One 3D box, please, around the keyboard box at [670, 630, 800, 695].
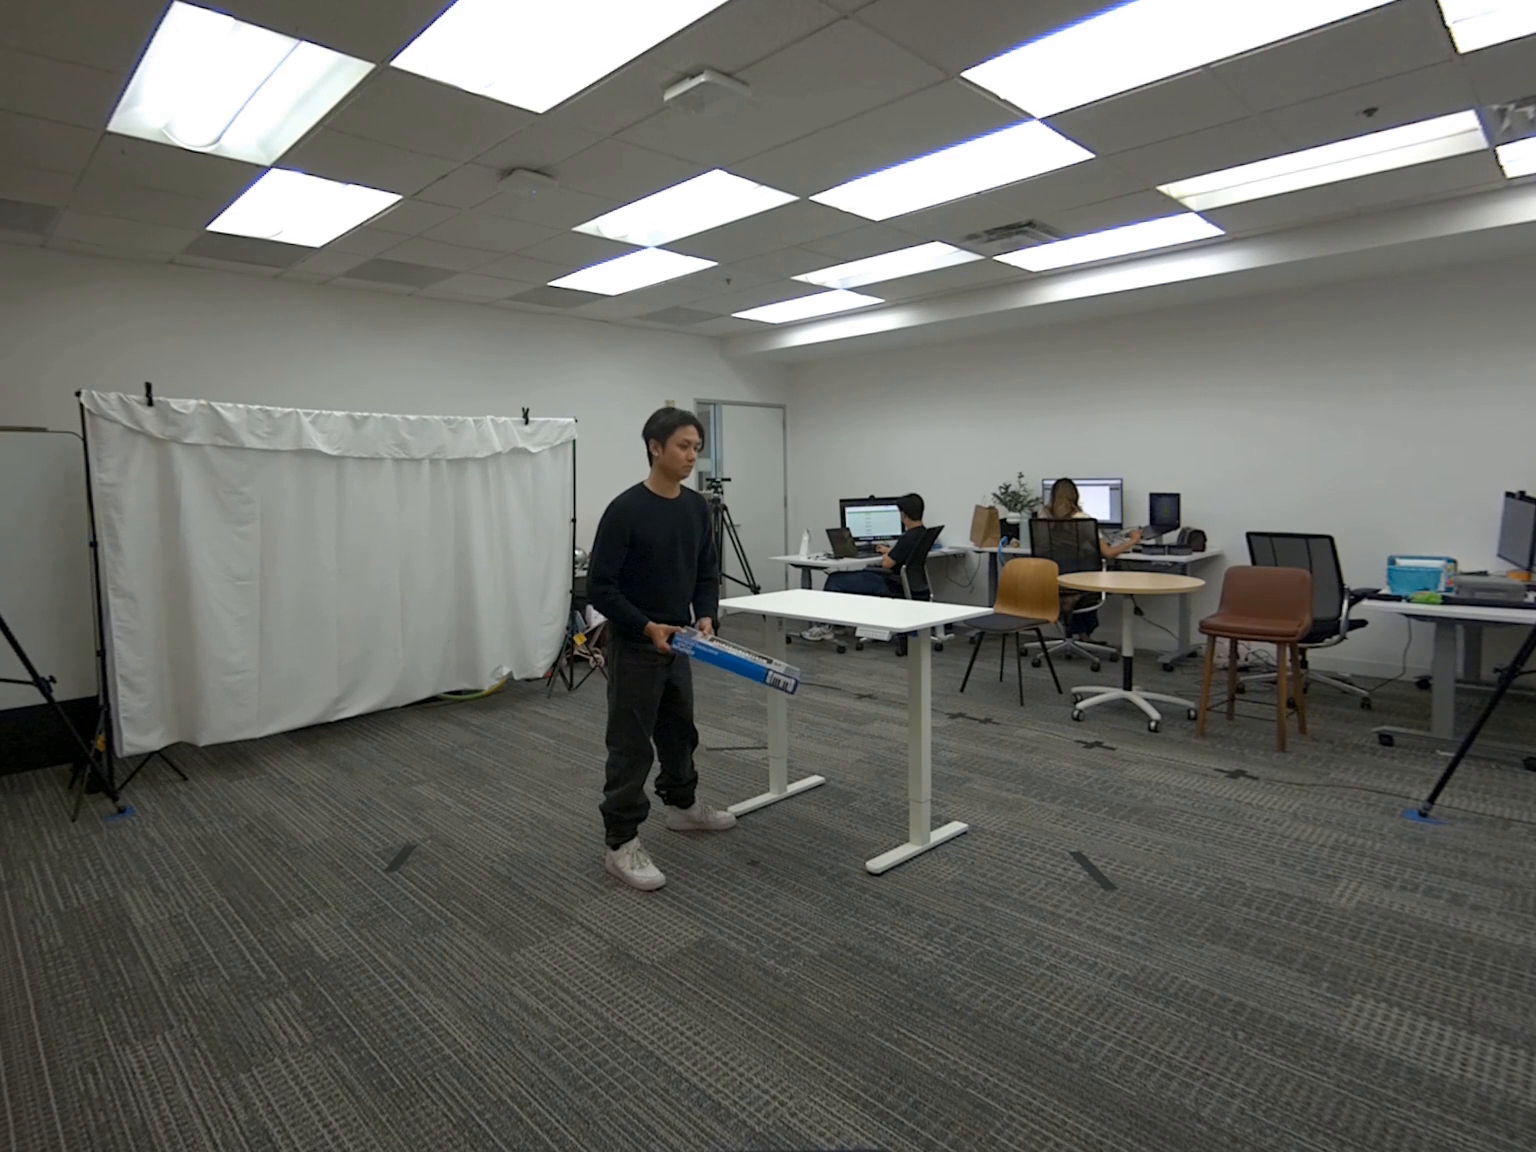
[{"bbox_3d":[-0.109,0.285,2.884,0.442,0.059,0.174,19,7,9],"label":"keyboard box"}]
